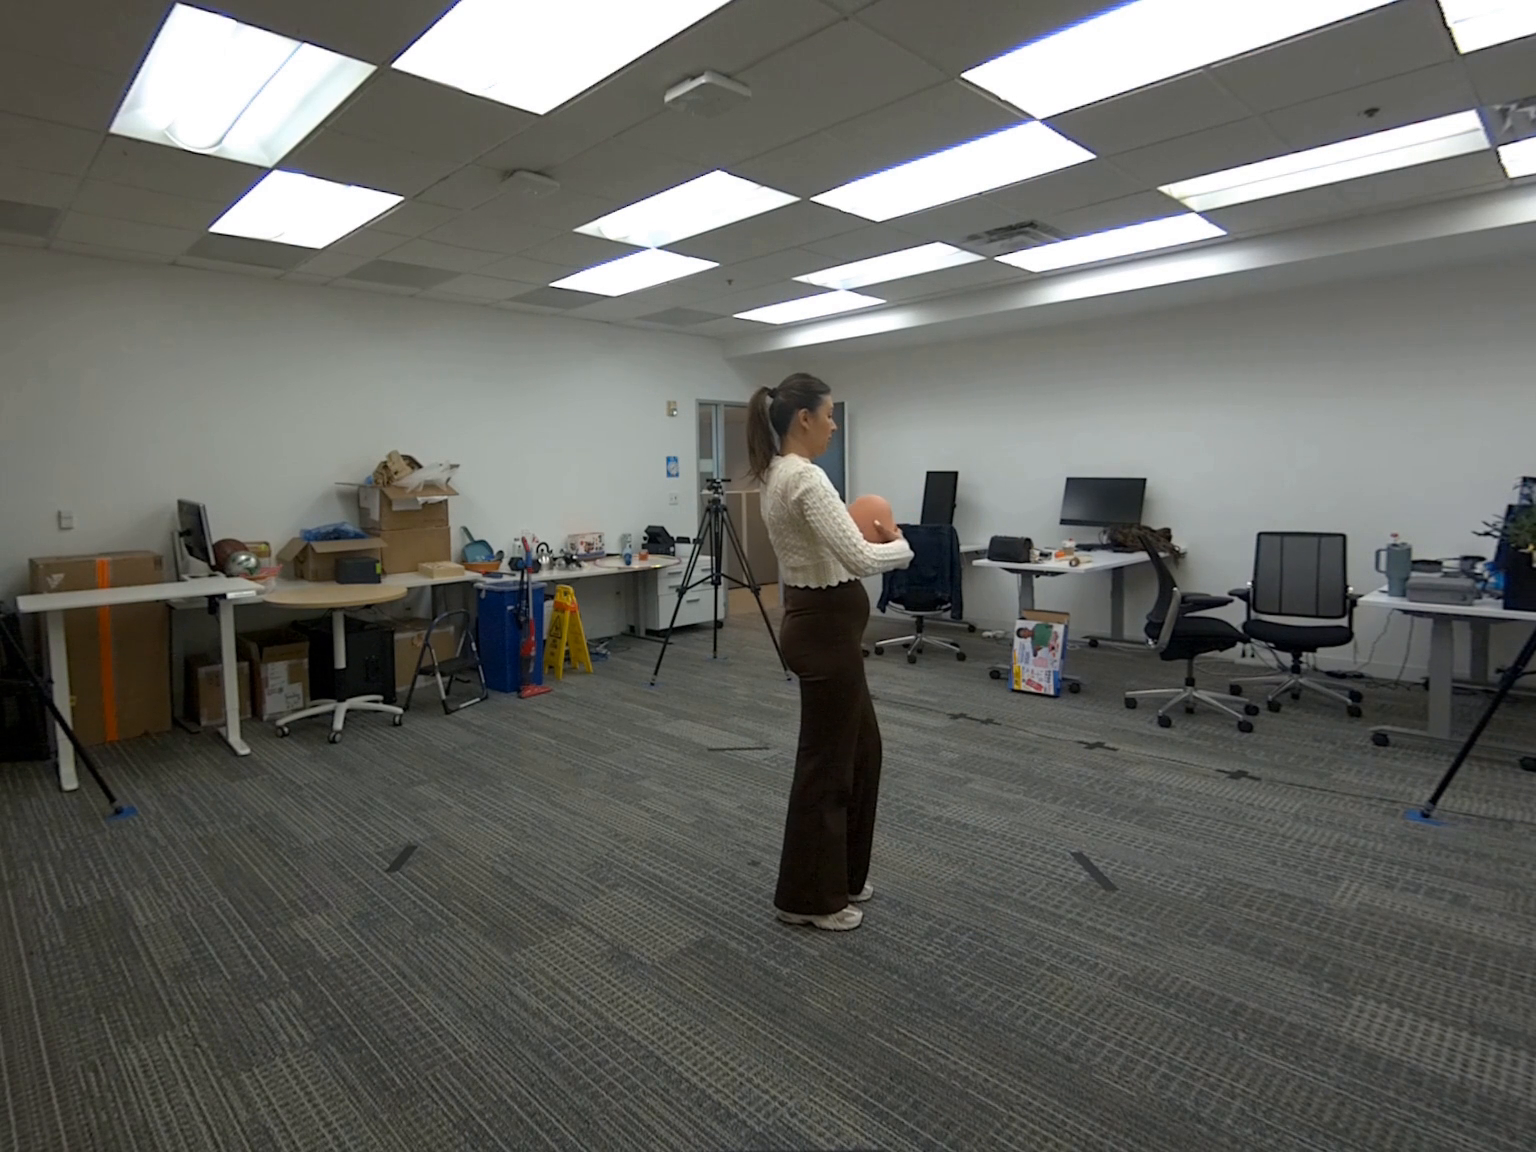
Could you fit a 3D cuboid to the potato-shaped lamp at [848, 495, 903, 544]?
[{"bbox_3d":[0.312,-0.153,2.657,0.166,0.198,0.170,7,-2,-39],"label":"potato-shaped lamp"}]
